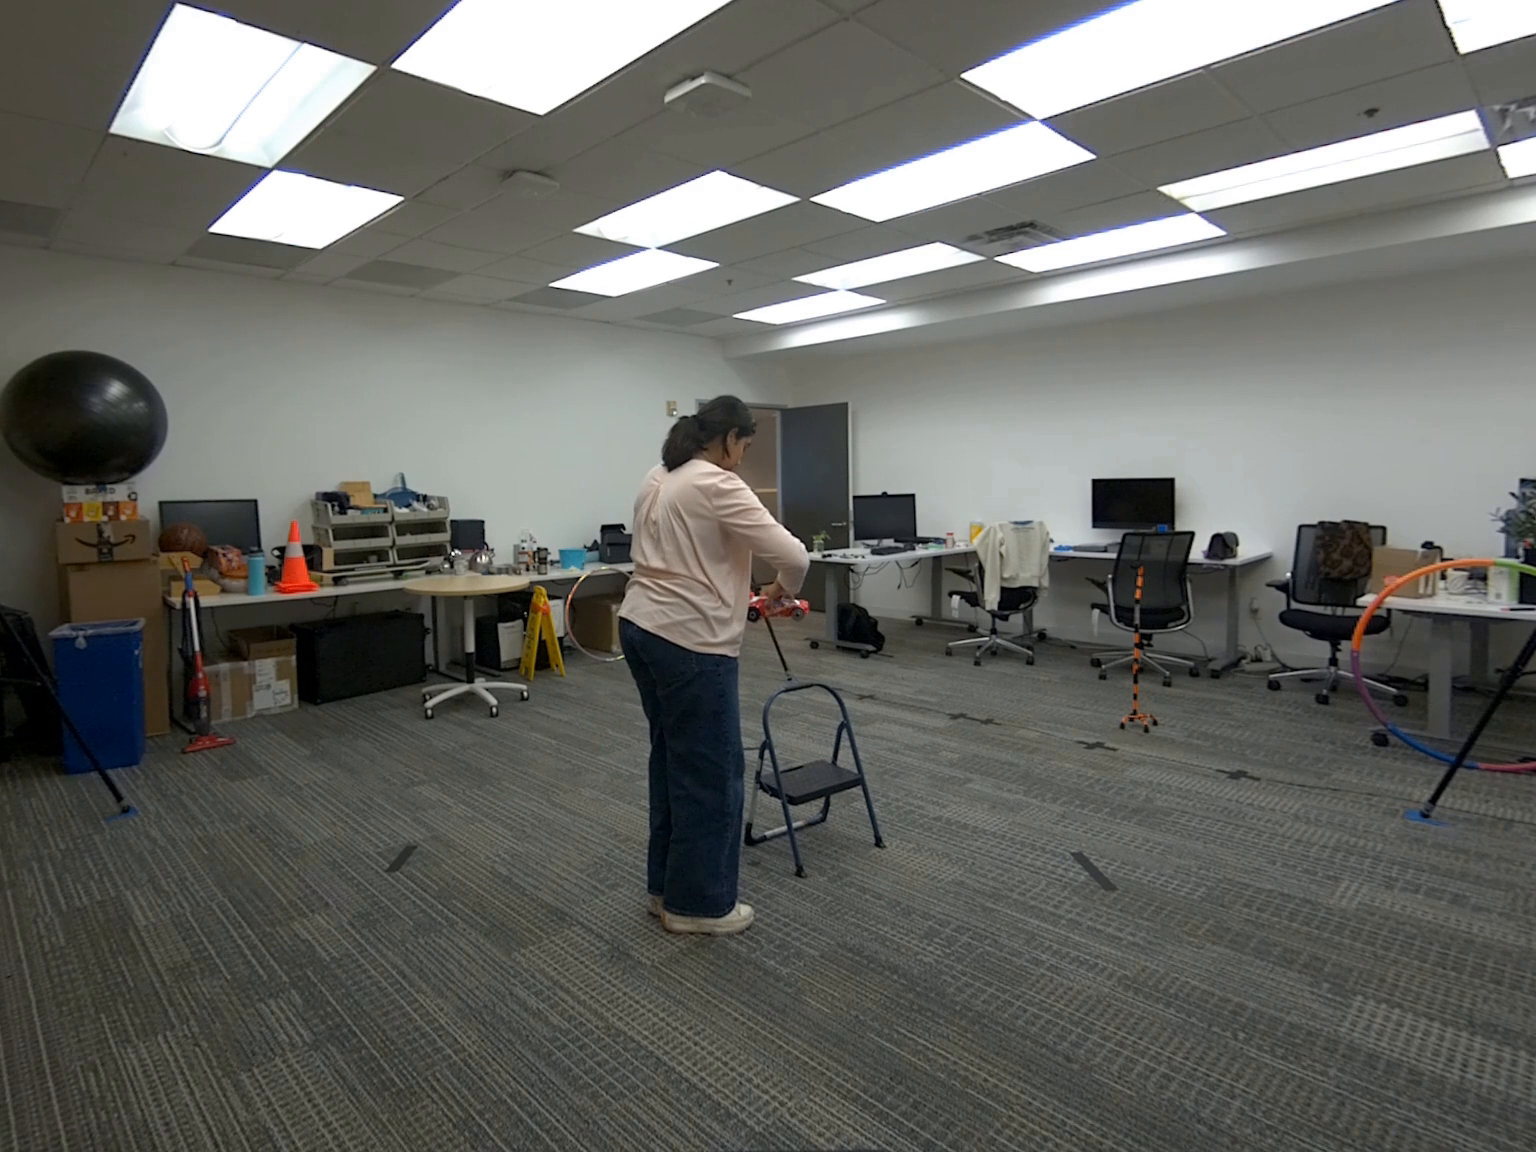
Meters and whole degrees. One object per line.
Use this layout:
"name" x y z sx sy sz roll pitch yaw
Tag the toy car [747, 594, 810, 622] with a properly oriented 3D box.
"toy car" 0.008 0.106 2.805 0.256 0.082 0.130 9 10 5
